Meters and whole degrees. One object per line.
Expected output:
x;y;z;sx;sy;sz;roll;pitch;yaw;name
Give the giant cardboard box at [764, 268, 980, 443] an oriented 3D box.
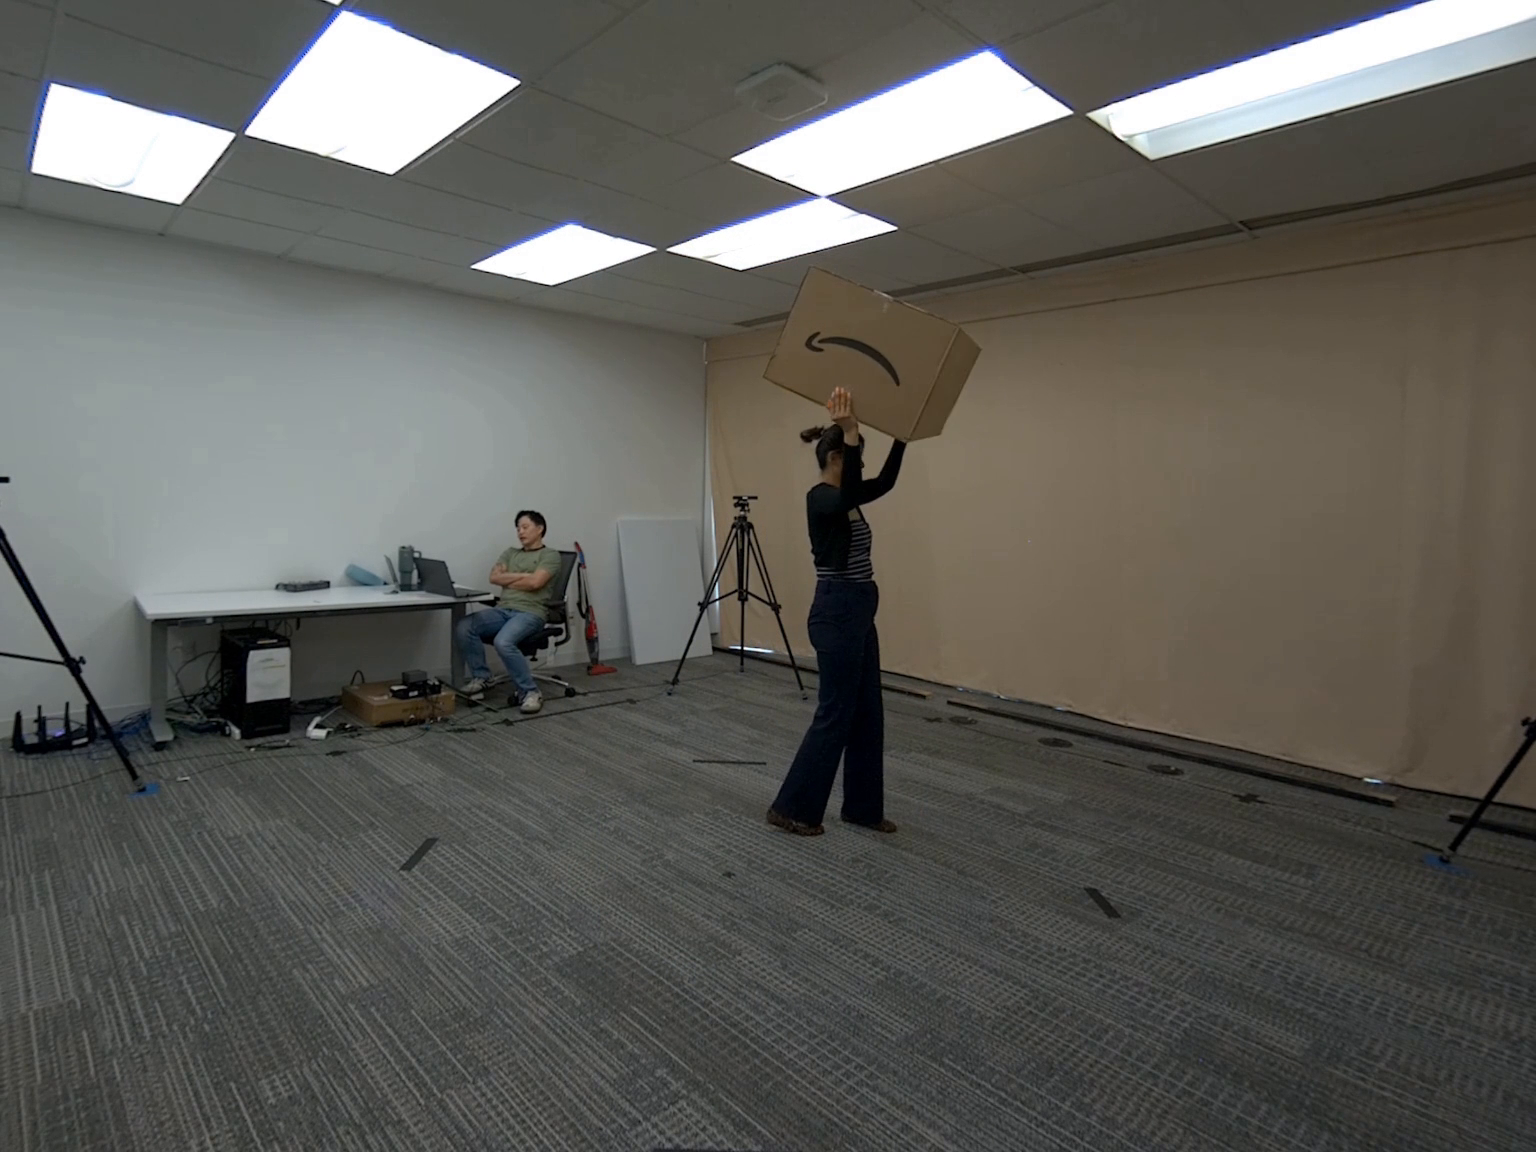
0.452;-0.854;3.386;0.586;0.423;1.017;27;18;13;giant cardboard box
